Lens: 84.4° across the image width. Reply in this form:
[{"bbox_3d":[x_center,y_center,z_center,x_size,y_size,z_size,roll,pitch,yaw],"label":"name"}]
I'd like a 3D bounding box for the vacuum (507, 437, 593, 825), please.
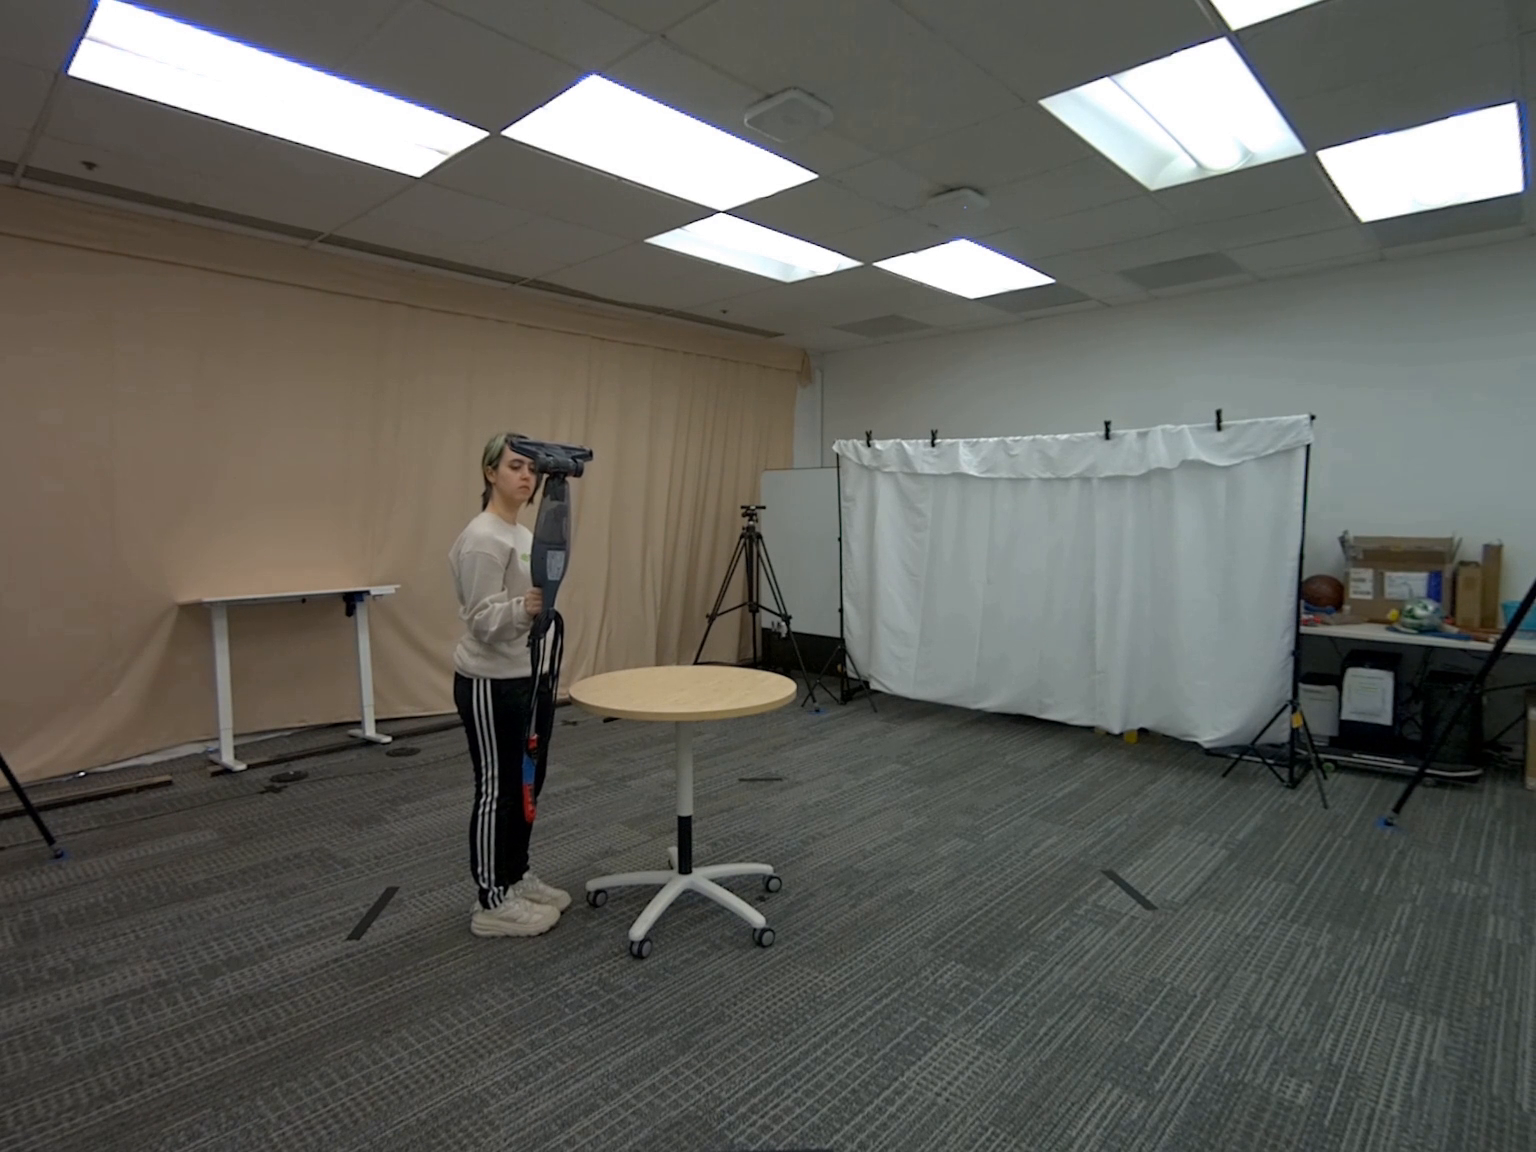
[{"bbox_3d":[-0.642,0.170,2.407,0.245,1.049,0.148,2,1,-30],"label":"vacuum"}]
